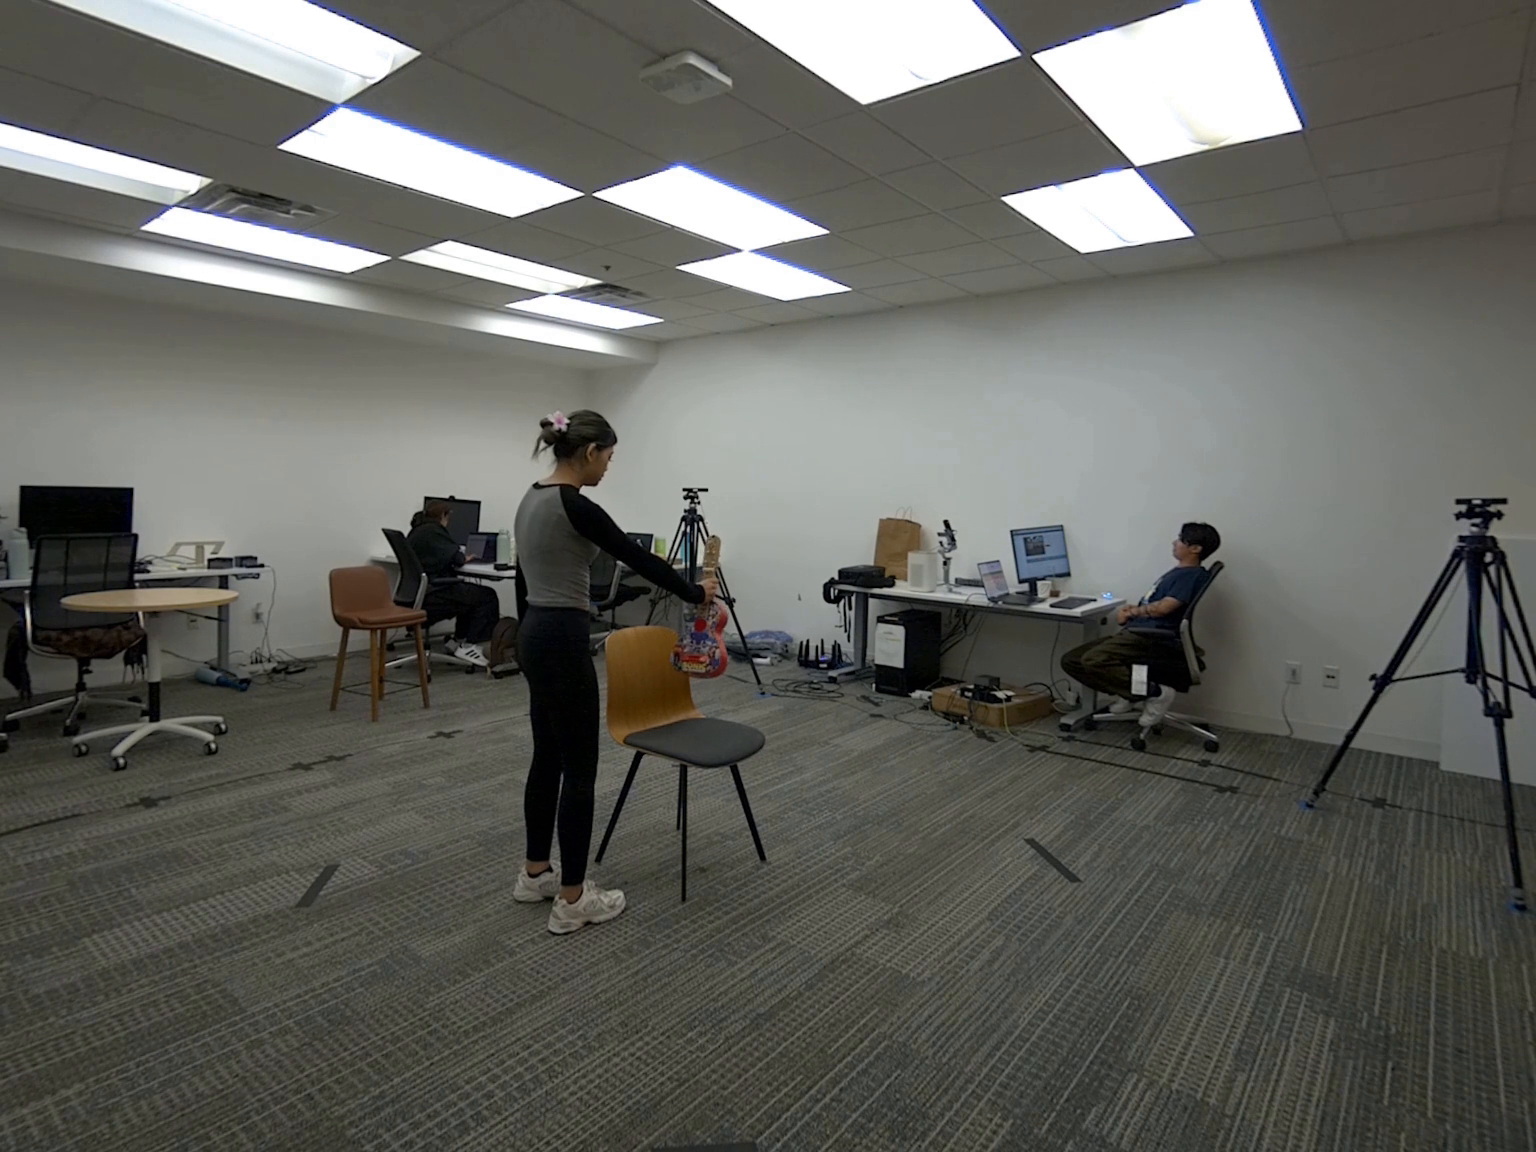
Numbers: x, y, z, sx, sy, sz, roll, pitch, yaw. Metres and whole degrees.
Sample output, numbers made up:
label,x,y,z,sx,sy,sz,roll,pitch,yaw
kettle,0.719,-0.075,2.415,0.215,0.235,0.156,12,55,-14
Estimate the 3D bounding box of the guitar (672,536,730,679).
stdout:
label,x,y,z,sx,sy,sz,roll,pitch,yaw
guitar,-0.206,0.114,2.961,0.198,0.502,0.068,9,-13,24
